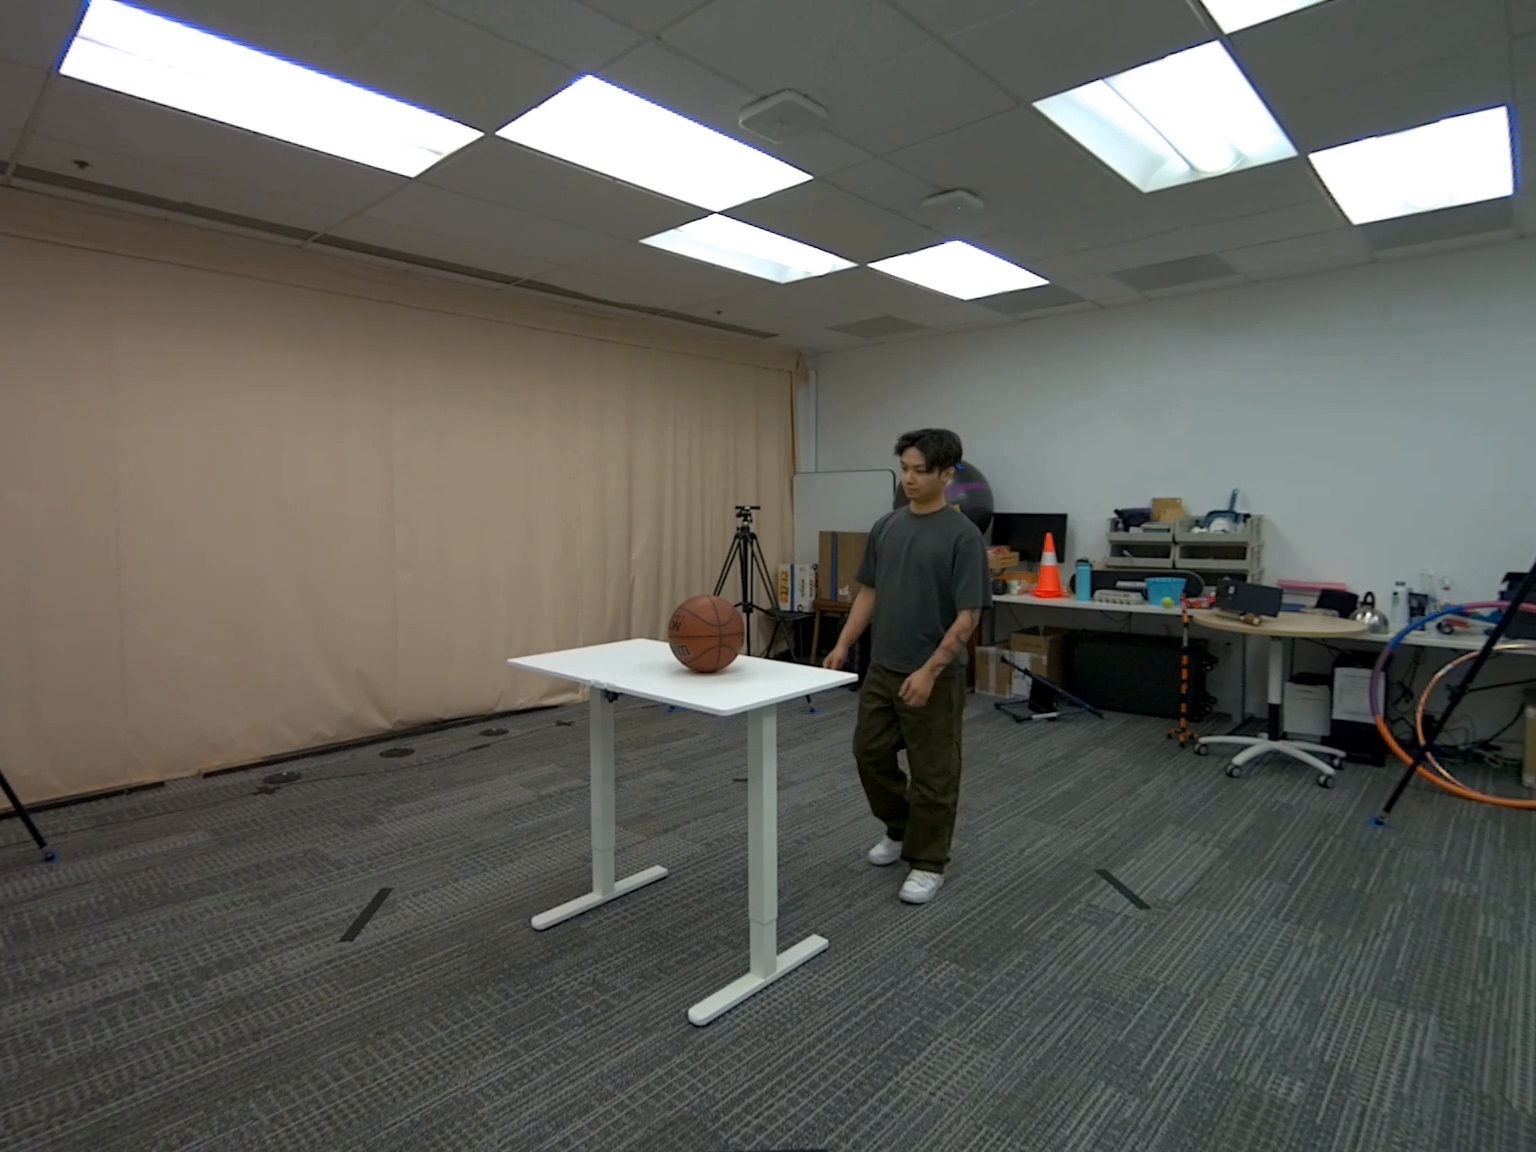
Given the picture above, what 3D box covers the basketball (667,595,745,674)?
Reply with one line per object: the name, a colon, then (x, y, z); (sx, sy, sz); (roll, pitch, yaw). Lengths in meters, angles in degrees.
basketball: (-0.190, 0.177, 2.605); (0.236, 0.235, 0.237); (0, 4, -2)
